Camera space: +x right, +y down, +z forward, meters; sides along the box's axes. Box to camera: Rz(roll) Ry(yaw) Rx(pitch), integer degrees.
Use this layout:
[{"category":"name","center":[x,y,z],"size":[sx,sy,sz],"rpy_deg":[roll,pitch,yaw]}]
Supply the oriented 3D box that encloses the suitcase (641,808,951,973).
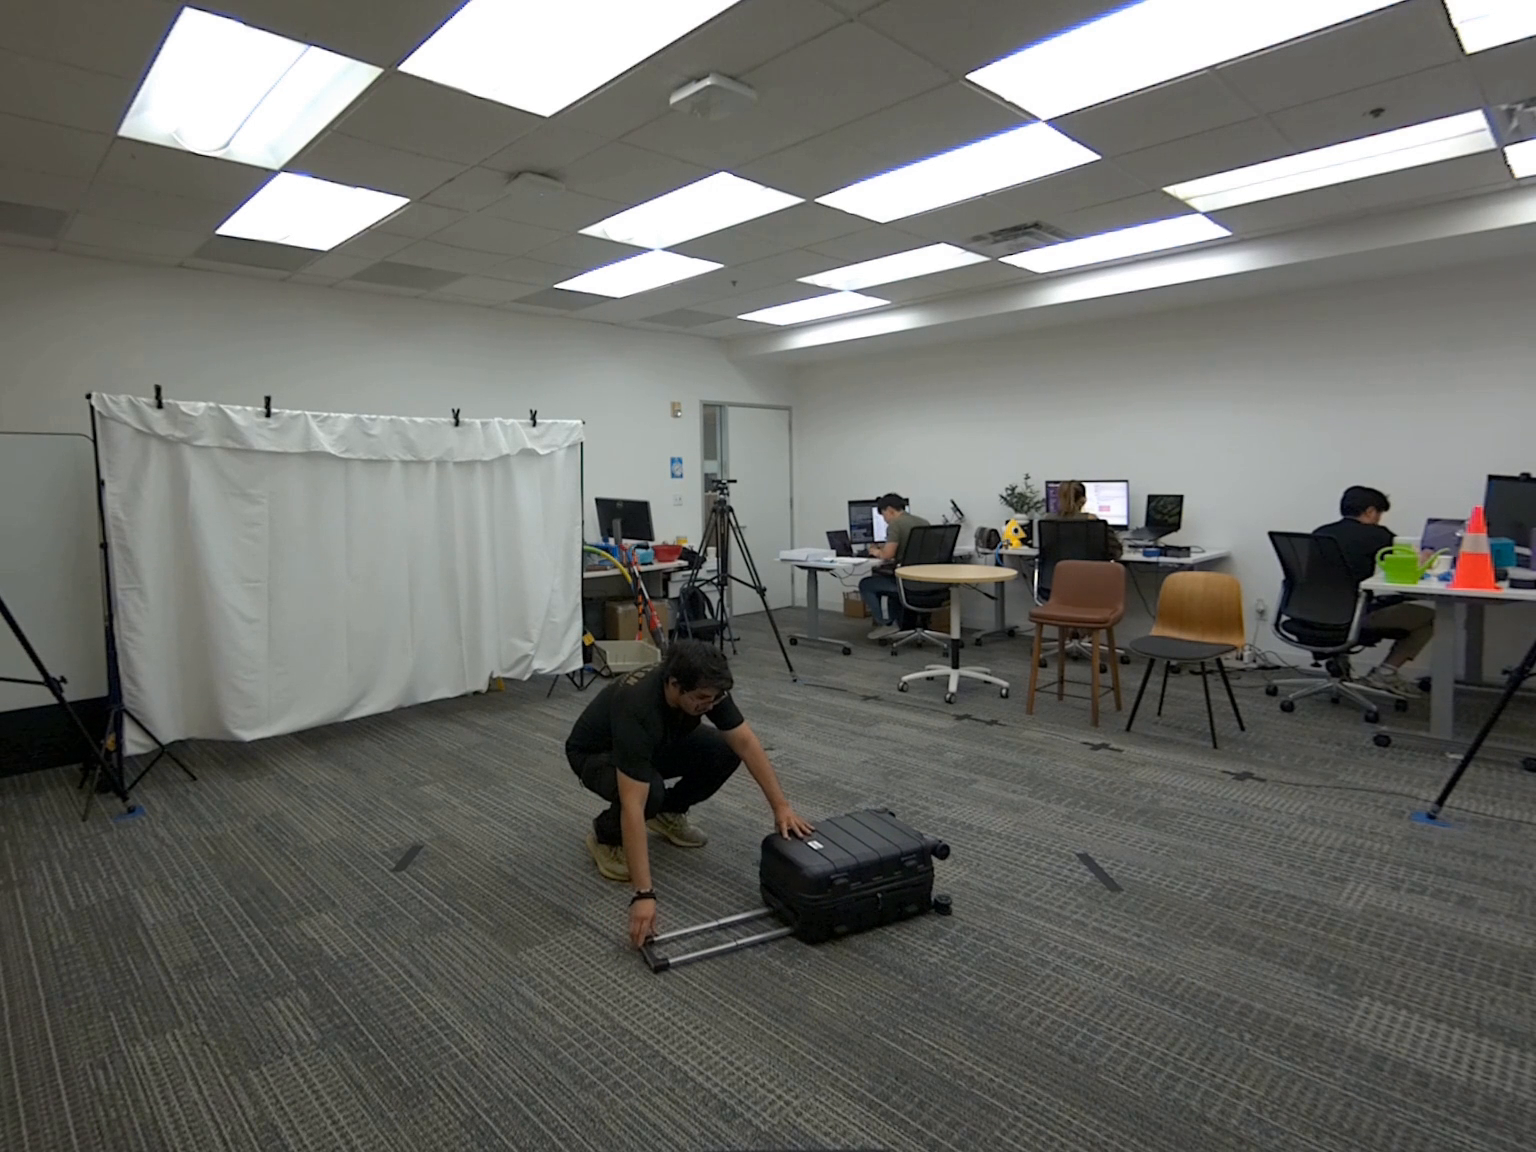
[{"category":"suitcase","center":[0.088,0.963,2.688],"size":[0.957,0.256,0.394],"rpy_deg":[-2,7,-26]}]
